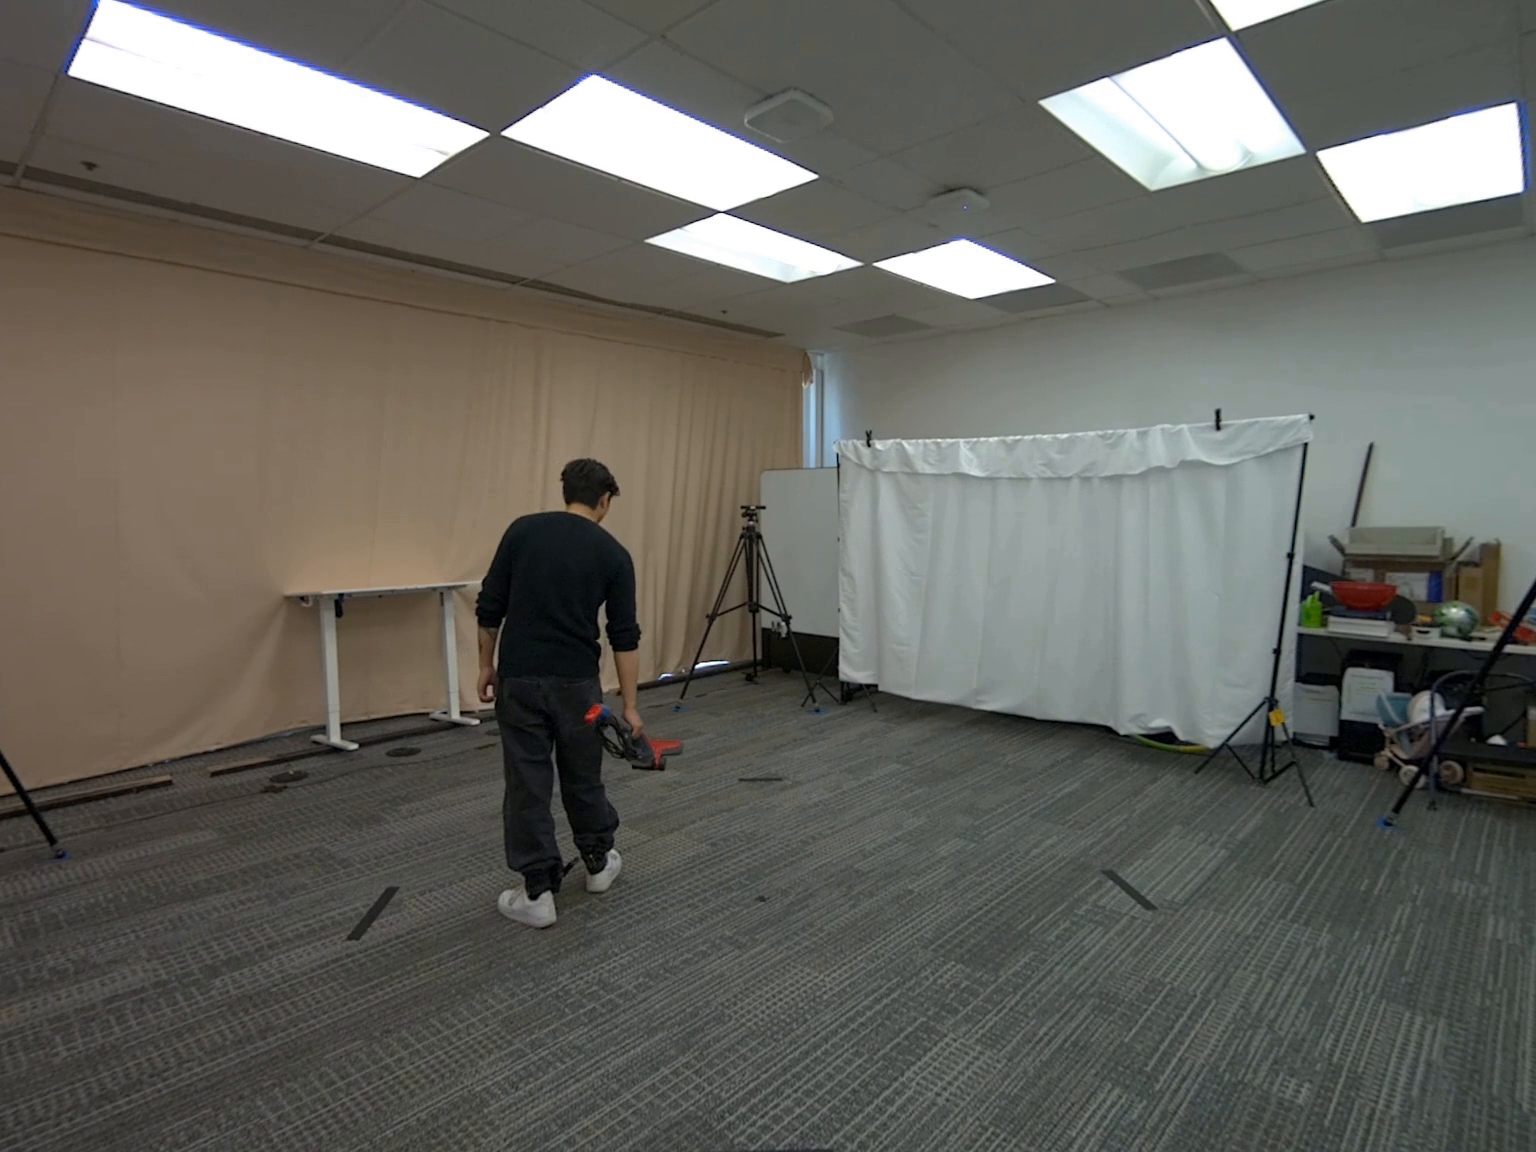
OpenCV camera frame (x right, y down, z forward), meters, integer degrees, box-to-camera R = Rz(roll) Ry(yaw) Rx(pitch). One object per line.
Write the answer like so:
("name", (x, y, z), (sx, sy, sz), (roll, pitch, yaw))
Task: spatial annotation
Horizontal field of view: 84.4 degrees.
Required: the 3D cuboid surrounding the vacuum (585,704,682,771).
("vacuum", (-0.498, 0.583, 2.946), (0.254, 0.145, 1.033), (-1, -18, 2))
